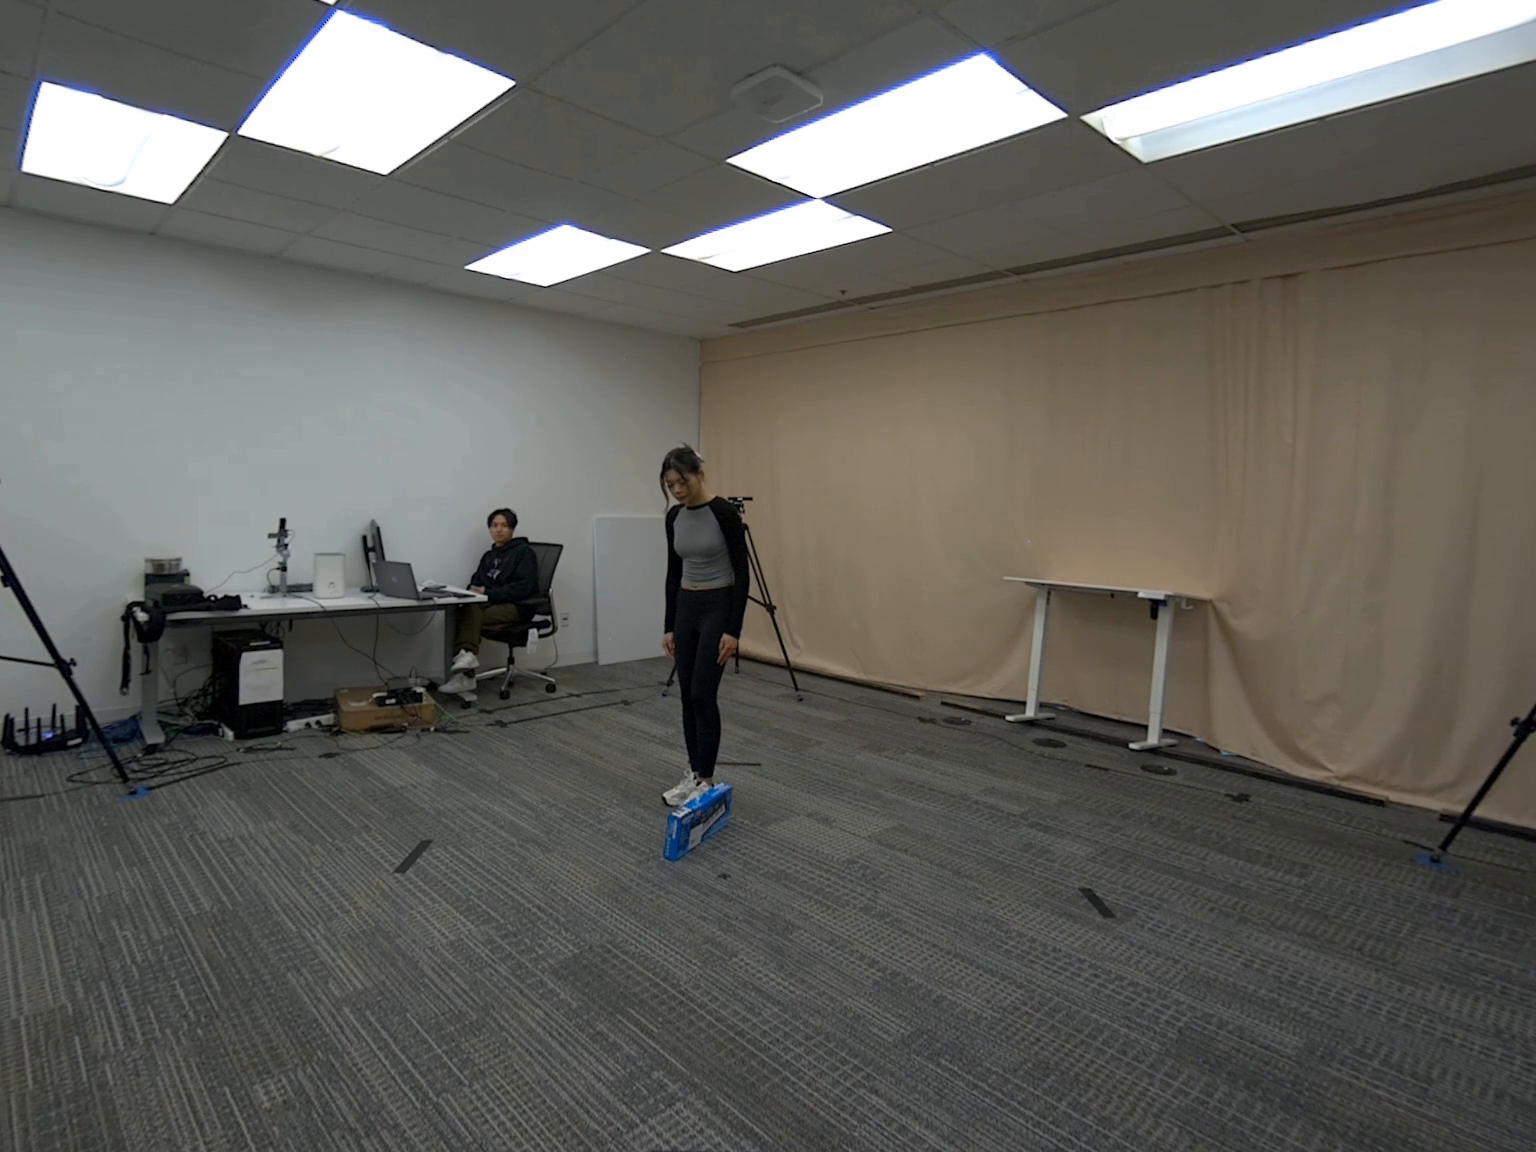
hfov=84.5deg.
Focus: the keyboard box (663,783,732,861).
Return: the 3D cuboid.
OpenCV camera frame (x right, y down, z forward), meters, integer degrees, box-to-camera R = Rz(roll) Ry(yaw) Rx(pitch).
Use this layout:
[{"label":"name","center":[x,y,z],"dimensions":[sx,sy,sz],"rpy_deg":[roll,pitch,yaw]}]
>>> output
[{"label":"keyboard box","center":[-0.289,0.990,3.412],"dimensions":[0.060,0.175,0.429],"rpy_deg":[9,7,24]}]
